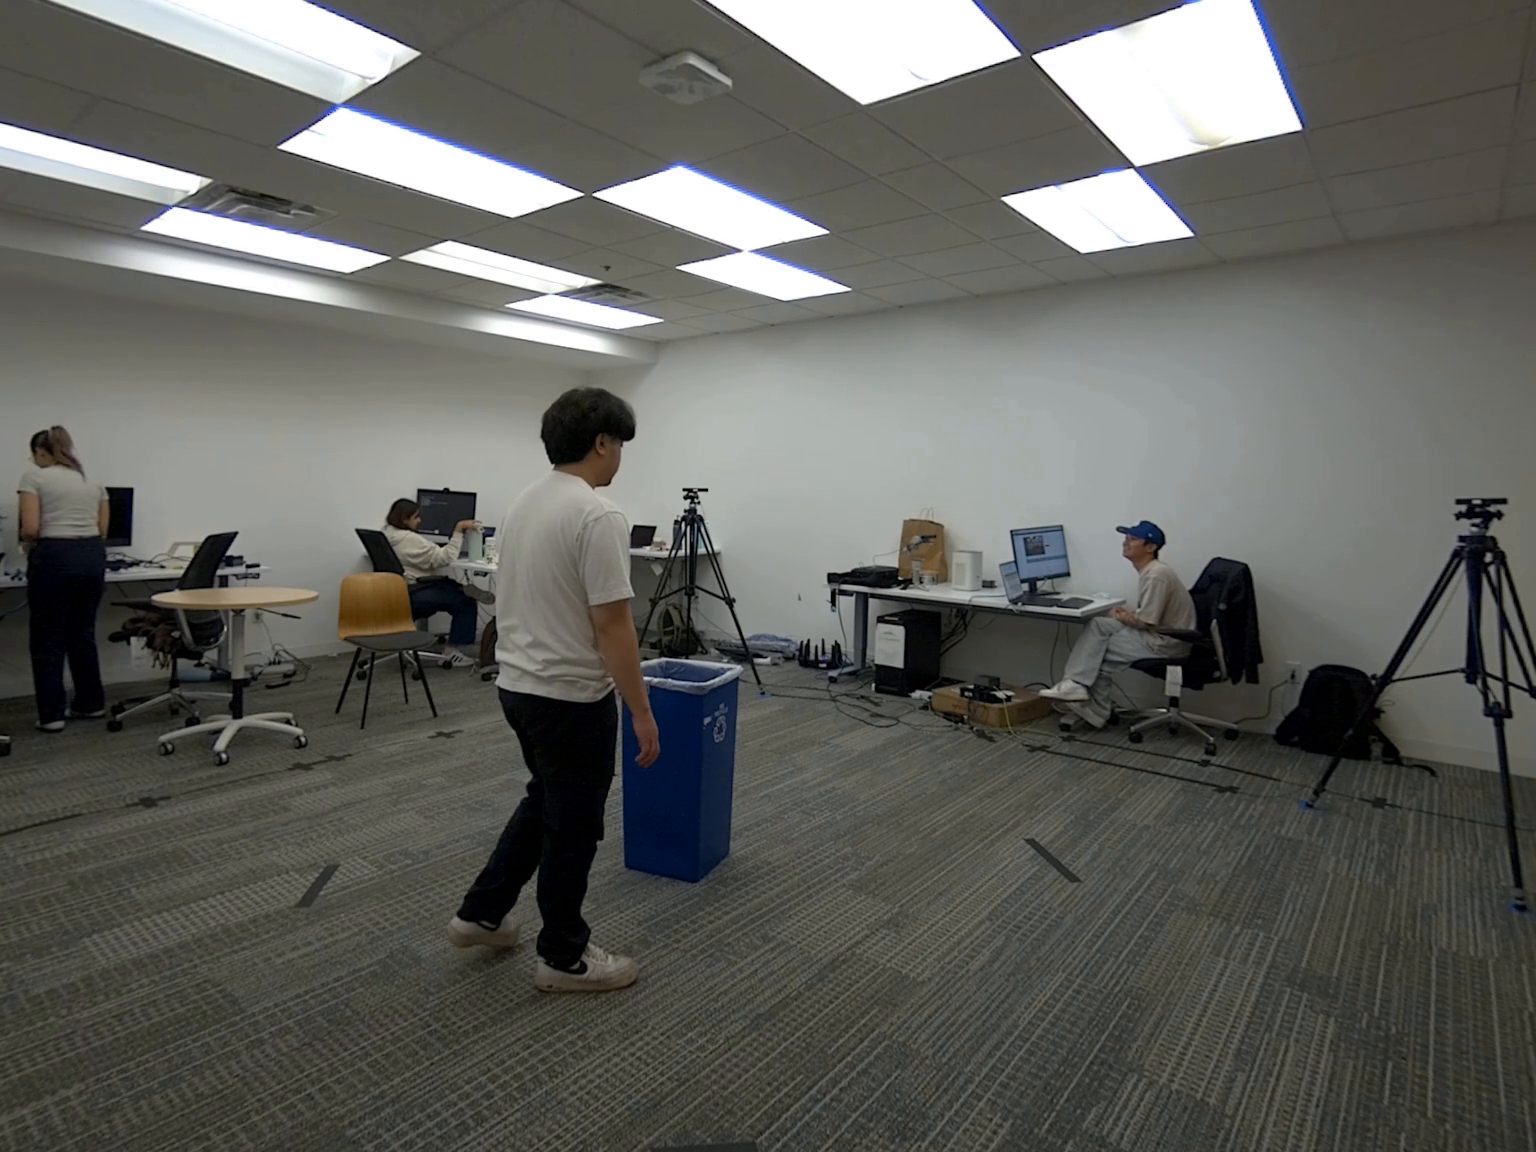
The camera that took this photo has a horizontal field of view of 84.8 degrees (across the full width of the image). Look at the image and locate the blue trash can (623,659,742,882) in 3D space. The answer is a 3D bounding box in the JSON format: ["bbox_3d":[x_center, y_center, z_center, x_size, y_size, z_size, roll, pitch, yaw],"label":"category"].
[{"bbox_3d":[-0.338,0.702,3.179,0.387,0.711,0.366,3,4,22],"label":"blue trash can"}]
